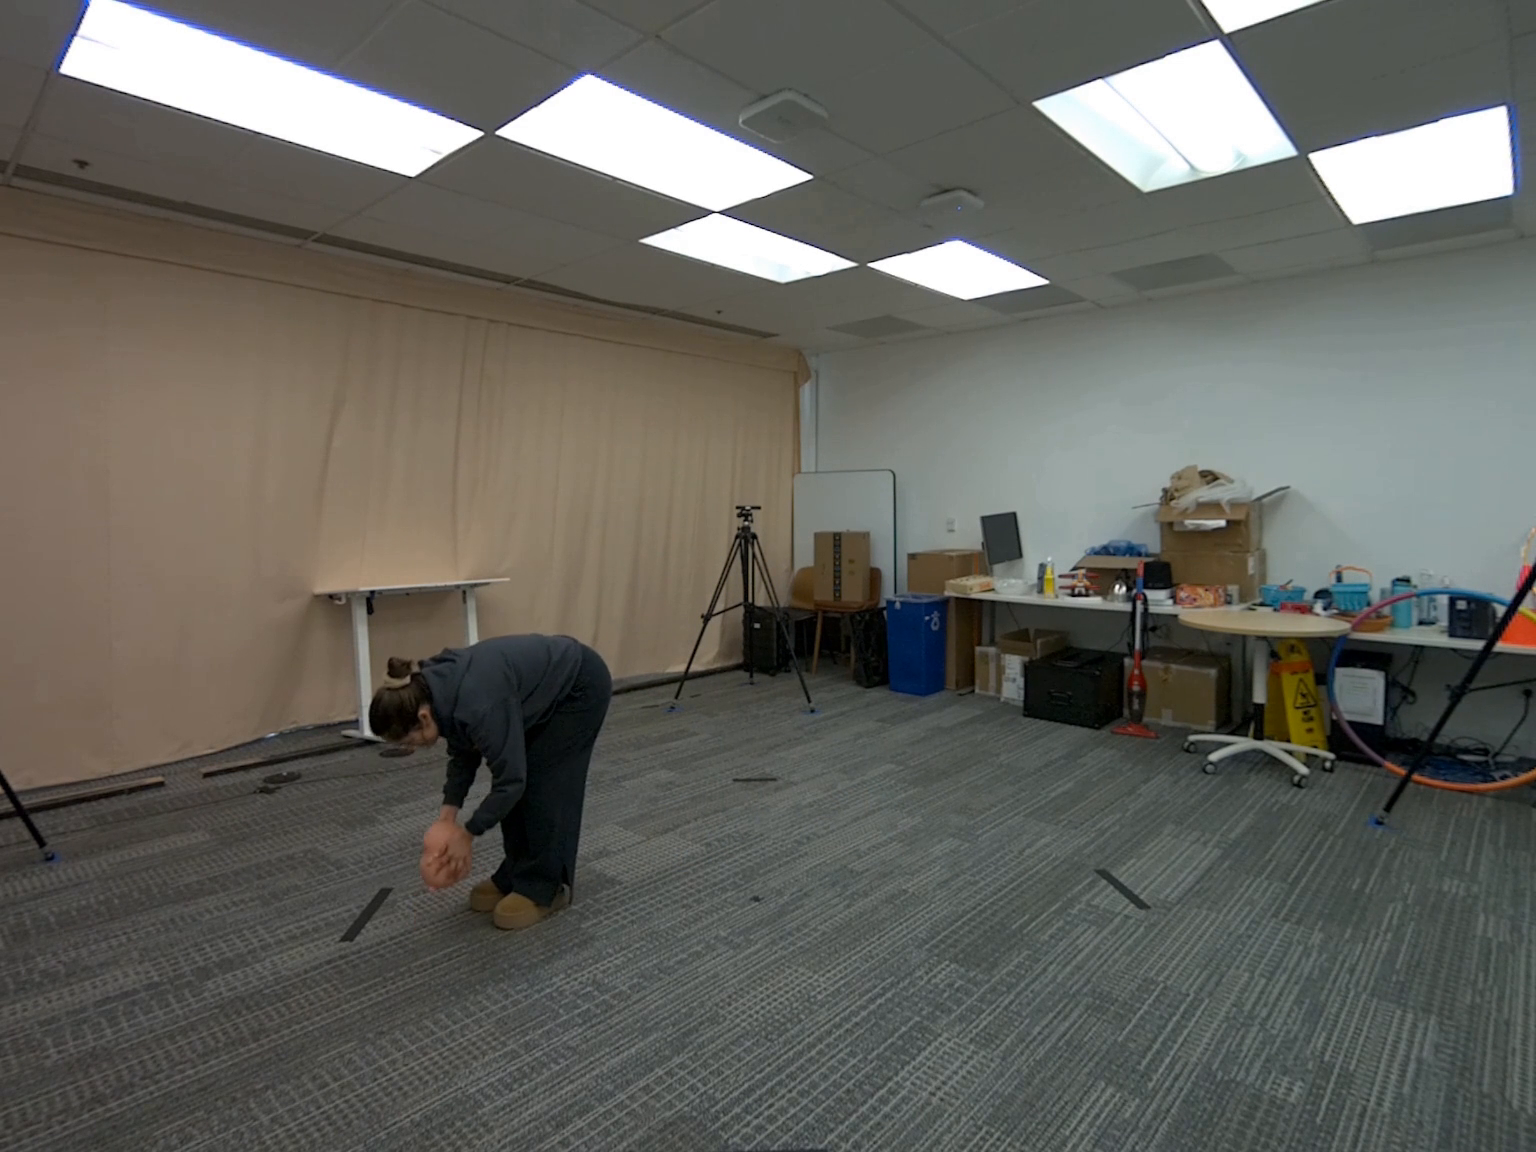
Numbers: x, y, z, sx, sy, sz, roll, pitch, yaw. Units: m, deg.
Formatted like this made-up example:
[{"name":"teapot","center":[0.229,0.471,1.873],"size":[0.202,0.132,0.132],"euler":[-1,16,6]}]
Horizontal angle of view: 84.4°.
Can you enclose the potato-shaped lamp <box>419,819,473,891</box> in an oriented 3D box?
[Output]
[{"name":"potato-shaped lamp","center":[-1.055,0.906,2.793],"size":[0.168,0.197,0.169],"euler":[-9,4,-25]}]
